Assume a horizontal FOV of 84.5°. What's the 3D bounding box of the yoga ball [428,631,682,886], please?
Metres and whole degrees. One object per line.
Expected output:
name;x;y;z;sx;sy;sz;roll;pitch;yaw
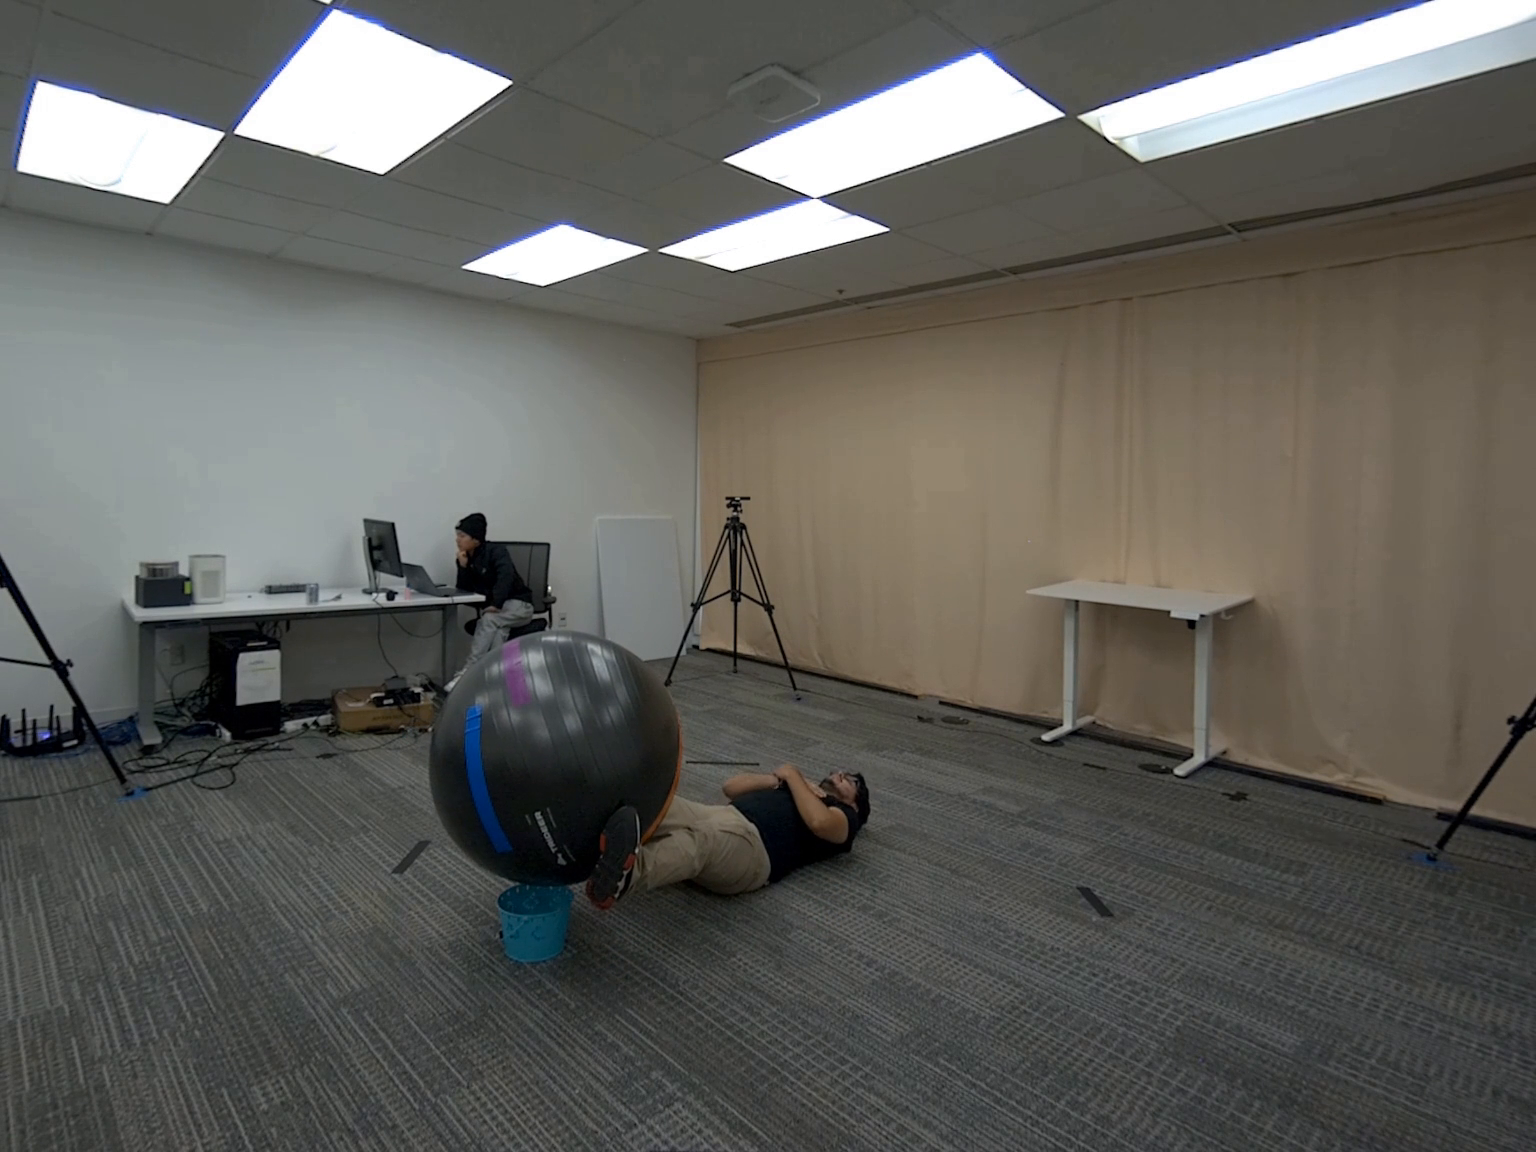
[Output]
yoga ball;-0.653;0.552;2.589;0.757;0.756;0.761;1;4;-1
